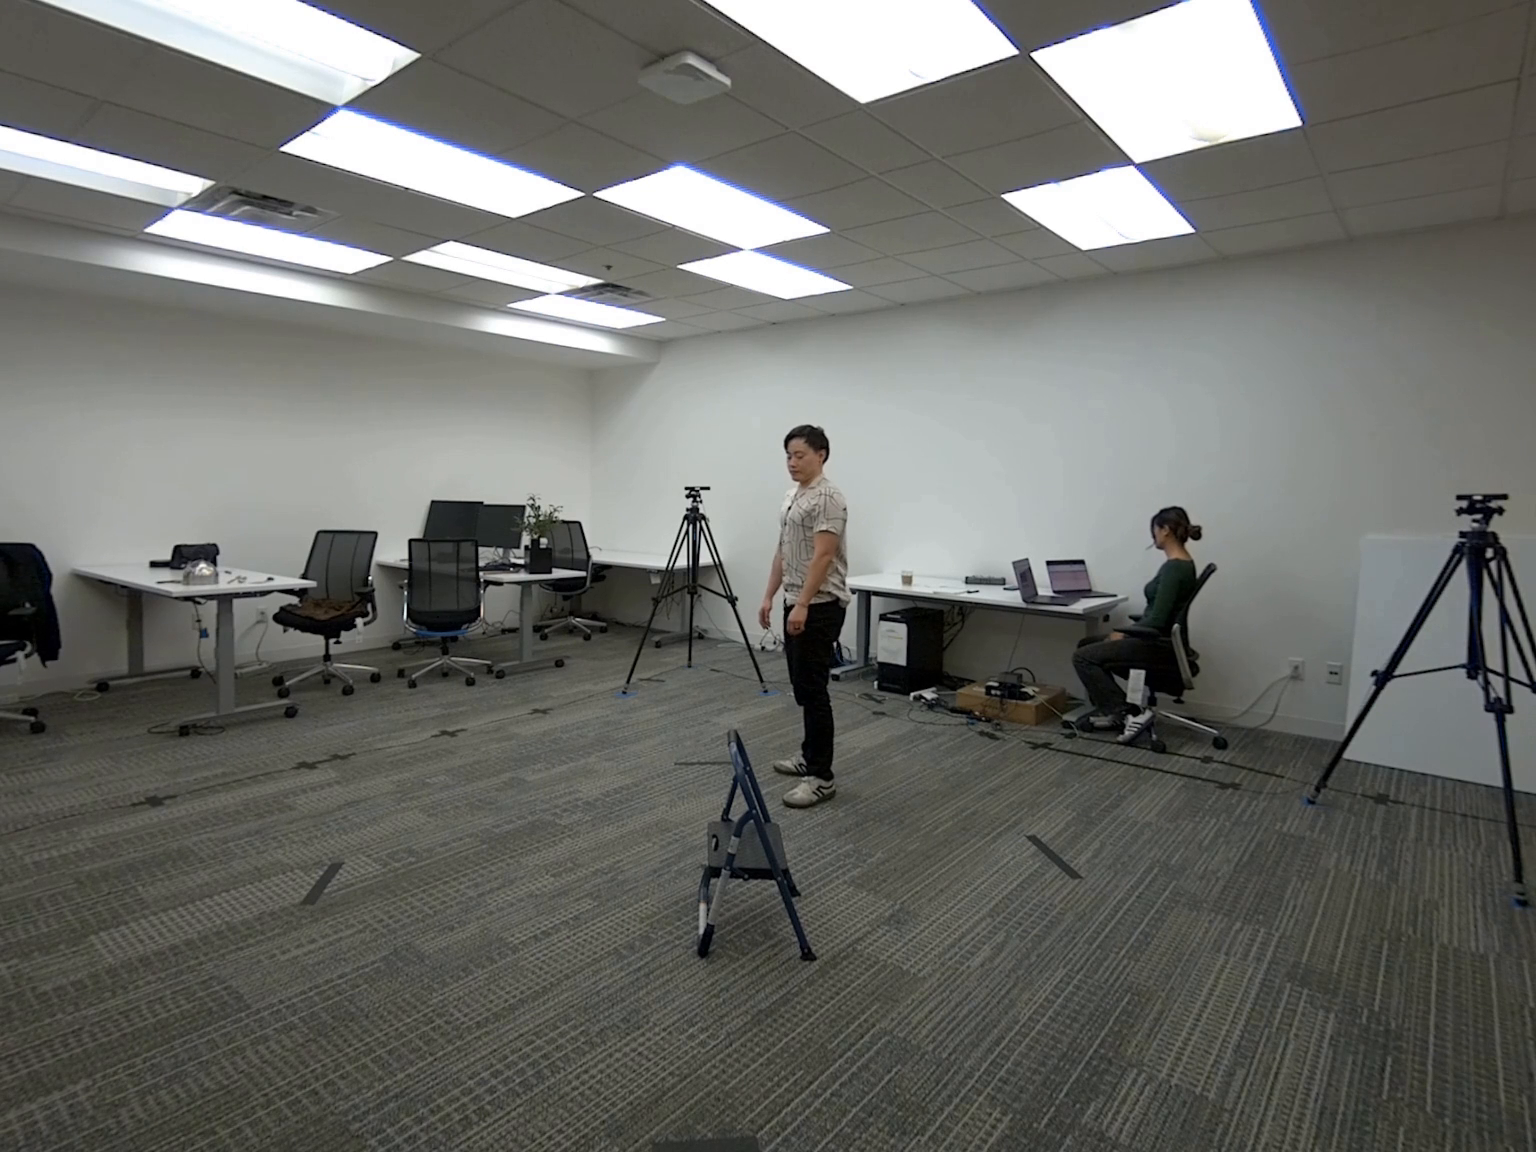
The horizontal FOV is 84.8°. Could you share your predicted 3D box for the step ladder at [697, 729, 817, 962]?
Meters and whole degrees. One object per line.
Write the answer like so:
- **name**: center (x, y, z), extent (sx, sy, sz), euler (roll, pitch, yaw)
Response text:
- **step ladder**: center (-0.051, 0.806, 2.698), extent (0.348, 0.604, 0.433), euler (1, 4, -3)
